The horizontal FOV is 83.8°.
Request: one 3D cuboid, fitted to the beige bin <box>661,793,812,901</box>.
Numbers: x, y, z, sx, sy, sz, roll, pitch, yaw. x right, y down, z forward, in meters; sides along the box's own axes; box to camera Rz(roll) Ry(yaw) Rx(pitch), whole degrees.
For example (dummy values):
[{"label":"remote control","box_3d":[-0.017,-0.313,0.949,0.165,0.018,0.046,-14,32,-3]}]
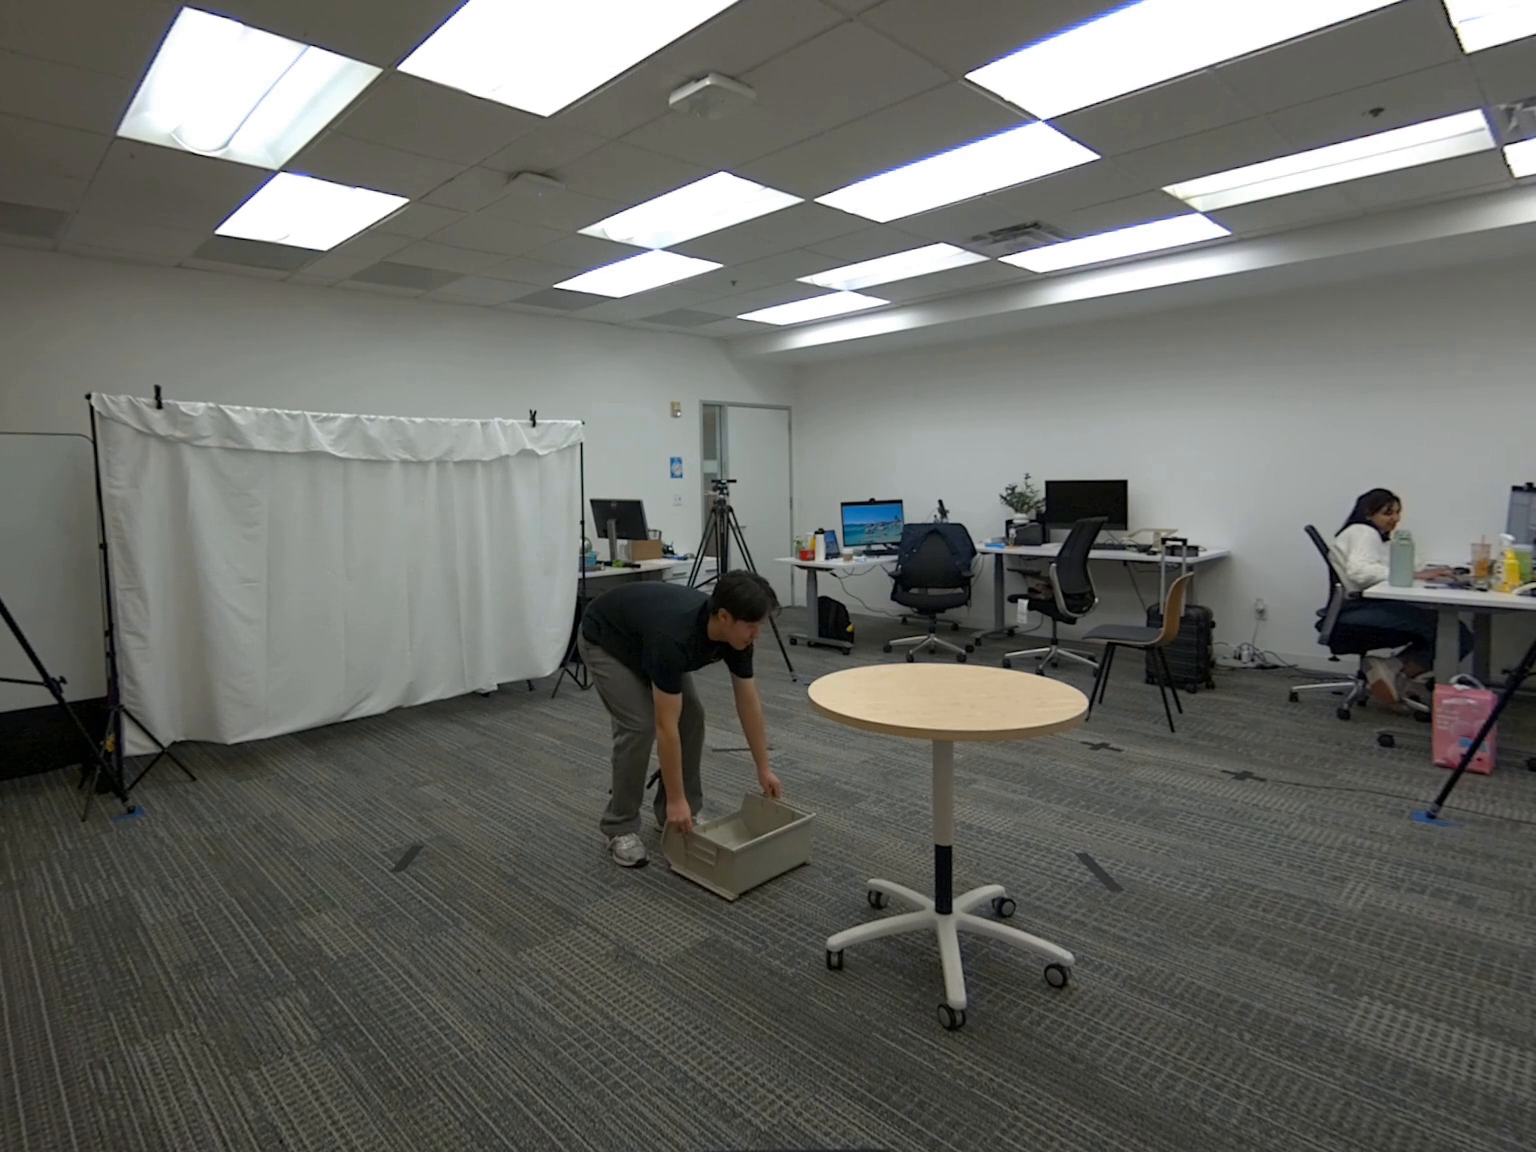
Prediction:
[{"label":"beige bin","box_3d":[-0.107,0.926,3.076,0.390,0.188,0.411,9,10,43]}]
